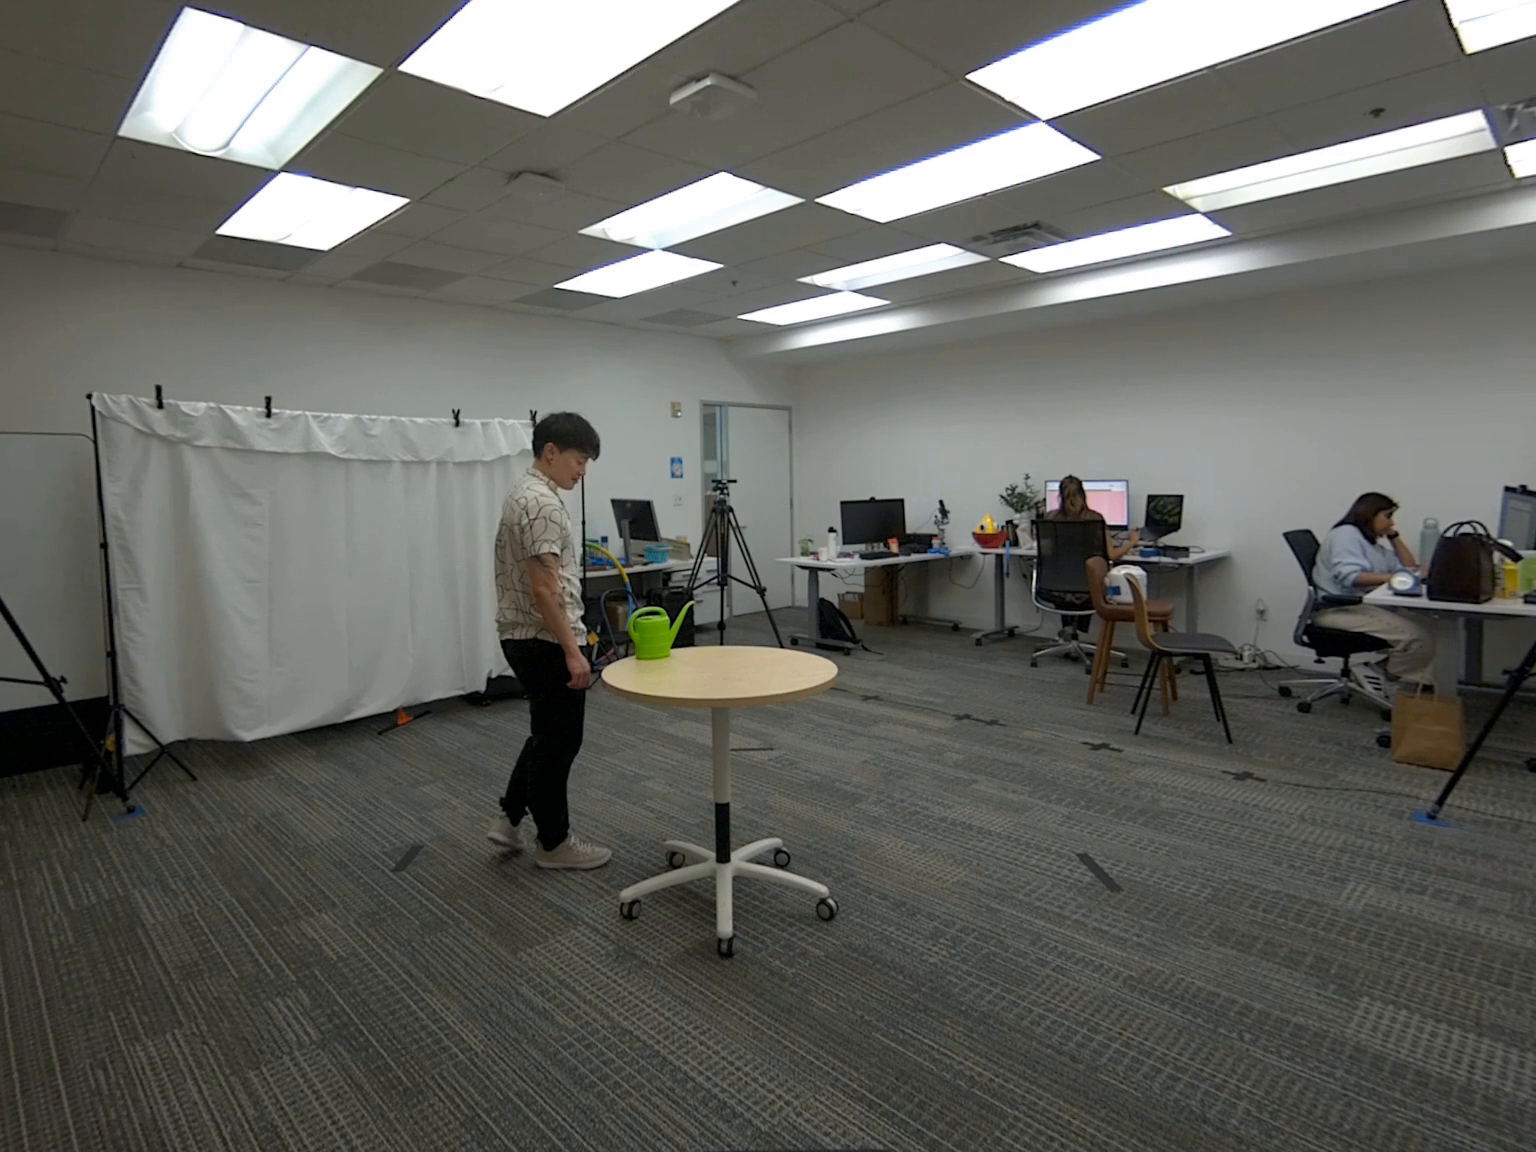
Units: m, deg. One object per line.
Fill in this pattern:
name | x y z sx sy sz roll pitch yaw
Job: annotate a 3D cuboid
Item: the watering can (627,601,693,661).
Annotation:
watering can | -0.364 0.191 3.014 0.273 0.175 0.101 -6 9 -25
